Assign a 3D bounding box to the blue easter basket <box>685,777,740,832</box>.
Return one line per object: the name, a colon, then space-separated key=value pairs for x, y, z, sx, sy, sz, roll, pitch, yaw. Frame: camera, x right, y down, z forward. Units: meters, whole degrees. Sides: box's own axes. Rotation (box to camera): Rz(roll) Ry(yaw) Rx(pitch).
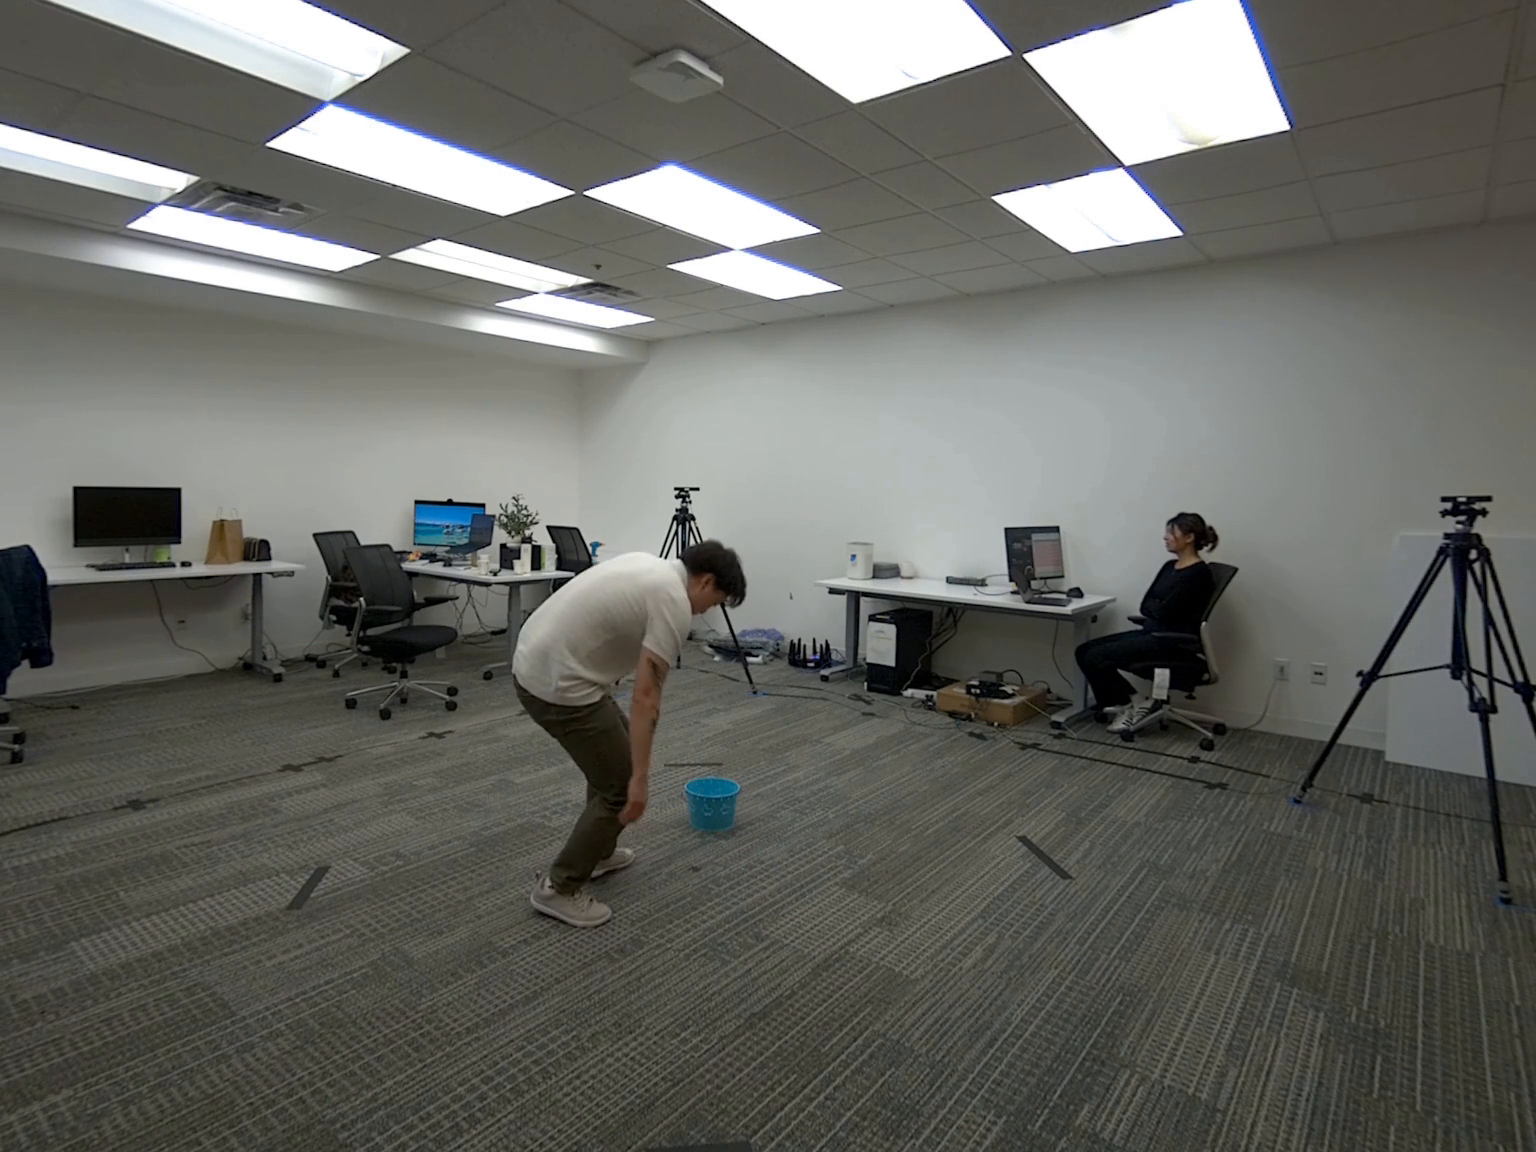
blue easter basket: x=-0.238 y=0.946 z=3.541 sx=0.243 sy=0.155 sz=0.245 roll=1 pitch=6 yaw=-2
